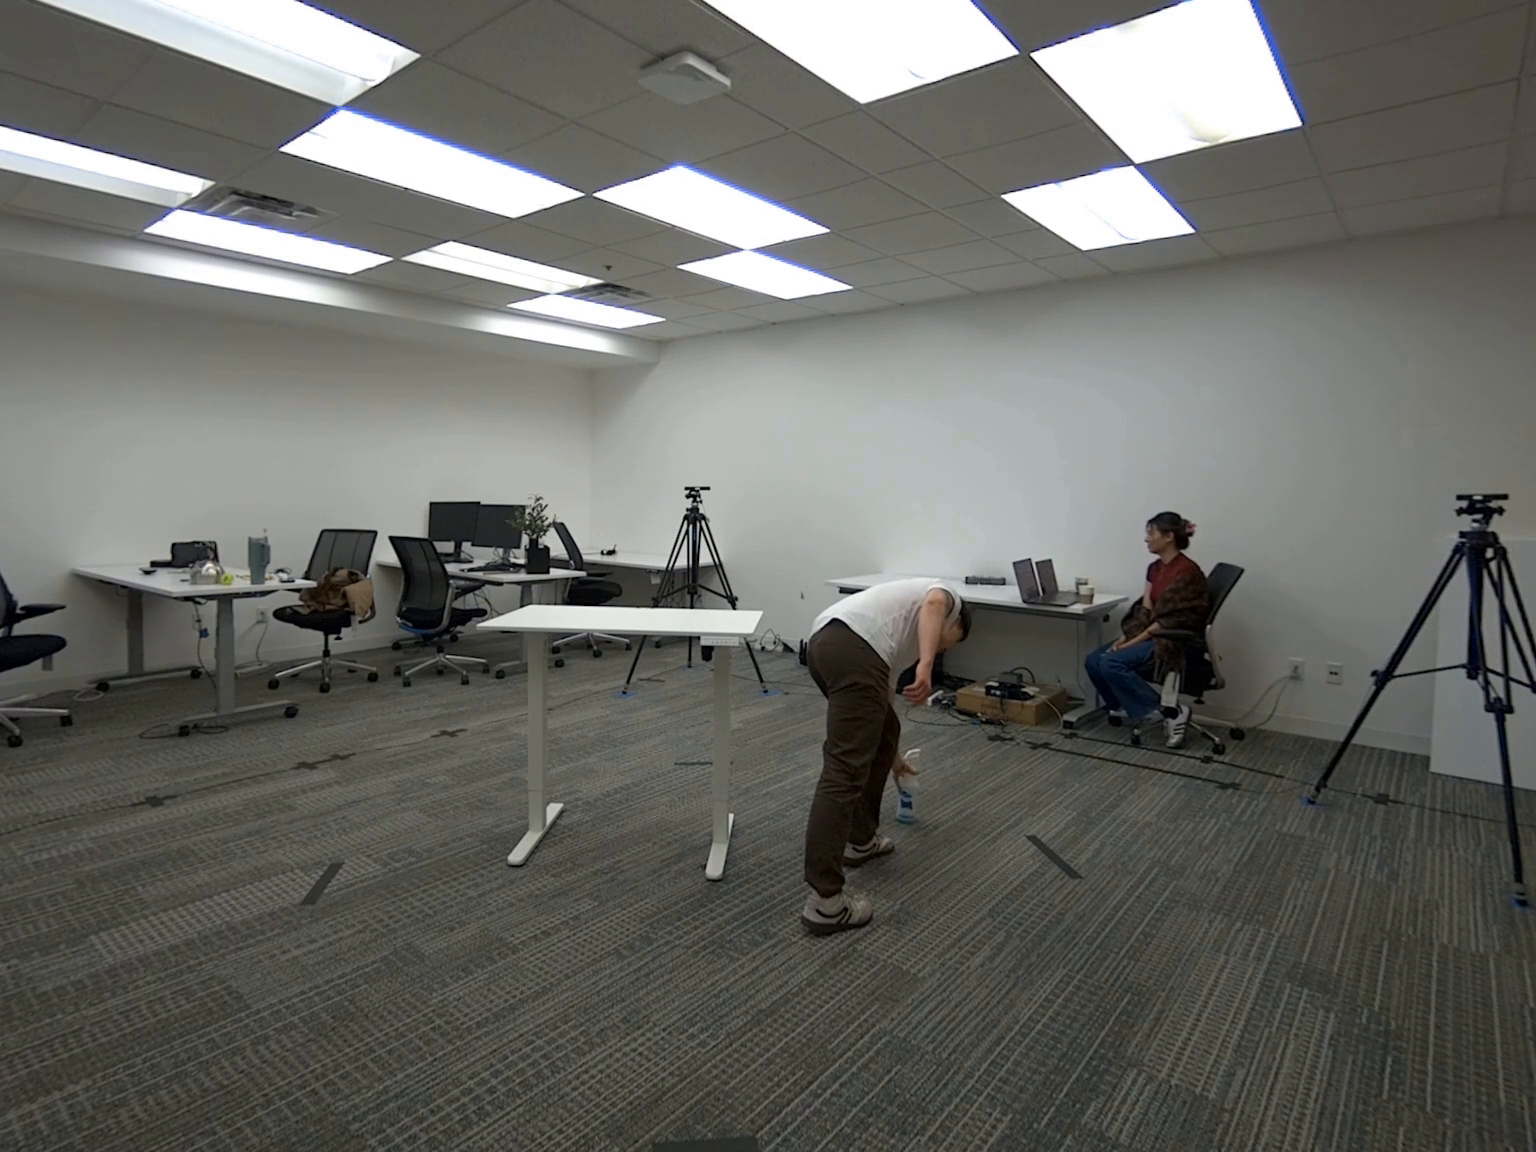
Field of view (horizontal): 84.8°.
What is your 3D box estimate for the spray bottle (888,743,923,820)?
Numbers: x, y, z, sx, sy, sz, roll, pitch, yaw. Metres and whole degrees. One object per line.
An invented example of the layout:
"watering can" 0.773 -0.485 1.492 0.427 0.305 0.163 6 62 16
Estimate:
"spray bottle" 0.584 0.875 3.594 0.089 0.296 0.088 5 3 -9
